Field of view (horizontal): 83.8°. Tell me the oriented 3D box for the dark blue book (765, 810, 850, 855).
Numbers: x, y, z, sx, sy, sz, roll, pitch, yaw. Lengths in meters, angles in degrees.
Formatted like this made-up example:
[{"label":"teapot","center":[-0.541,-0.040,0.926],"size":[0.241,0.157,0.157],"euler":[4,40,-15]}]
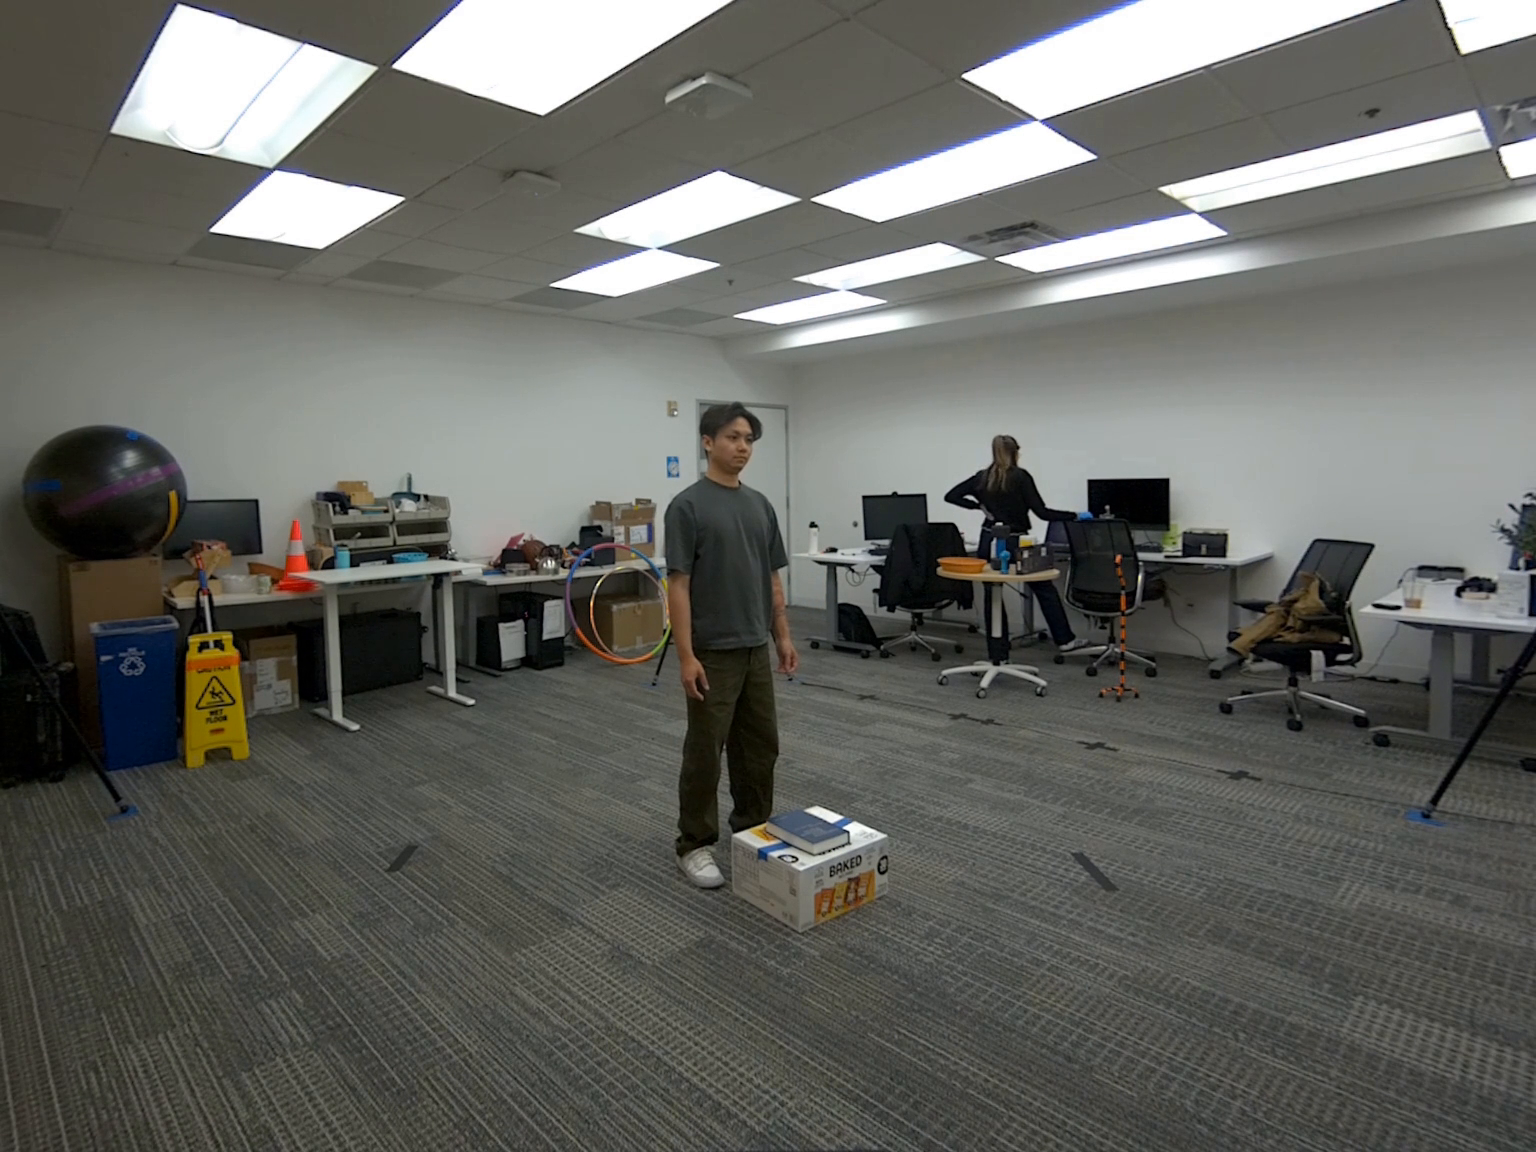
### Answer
[{"label":"dark blue book","center":[0.134,0.860,2.845],"size":[0.159,0.045,0.253],"euler":[-6,8,-38]}]
